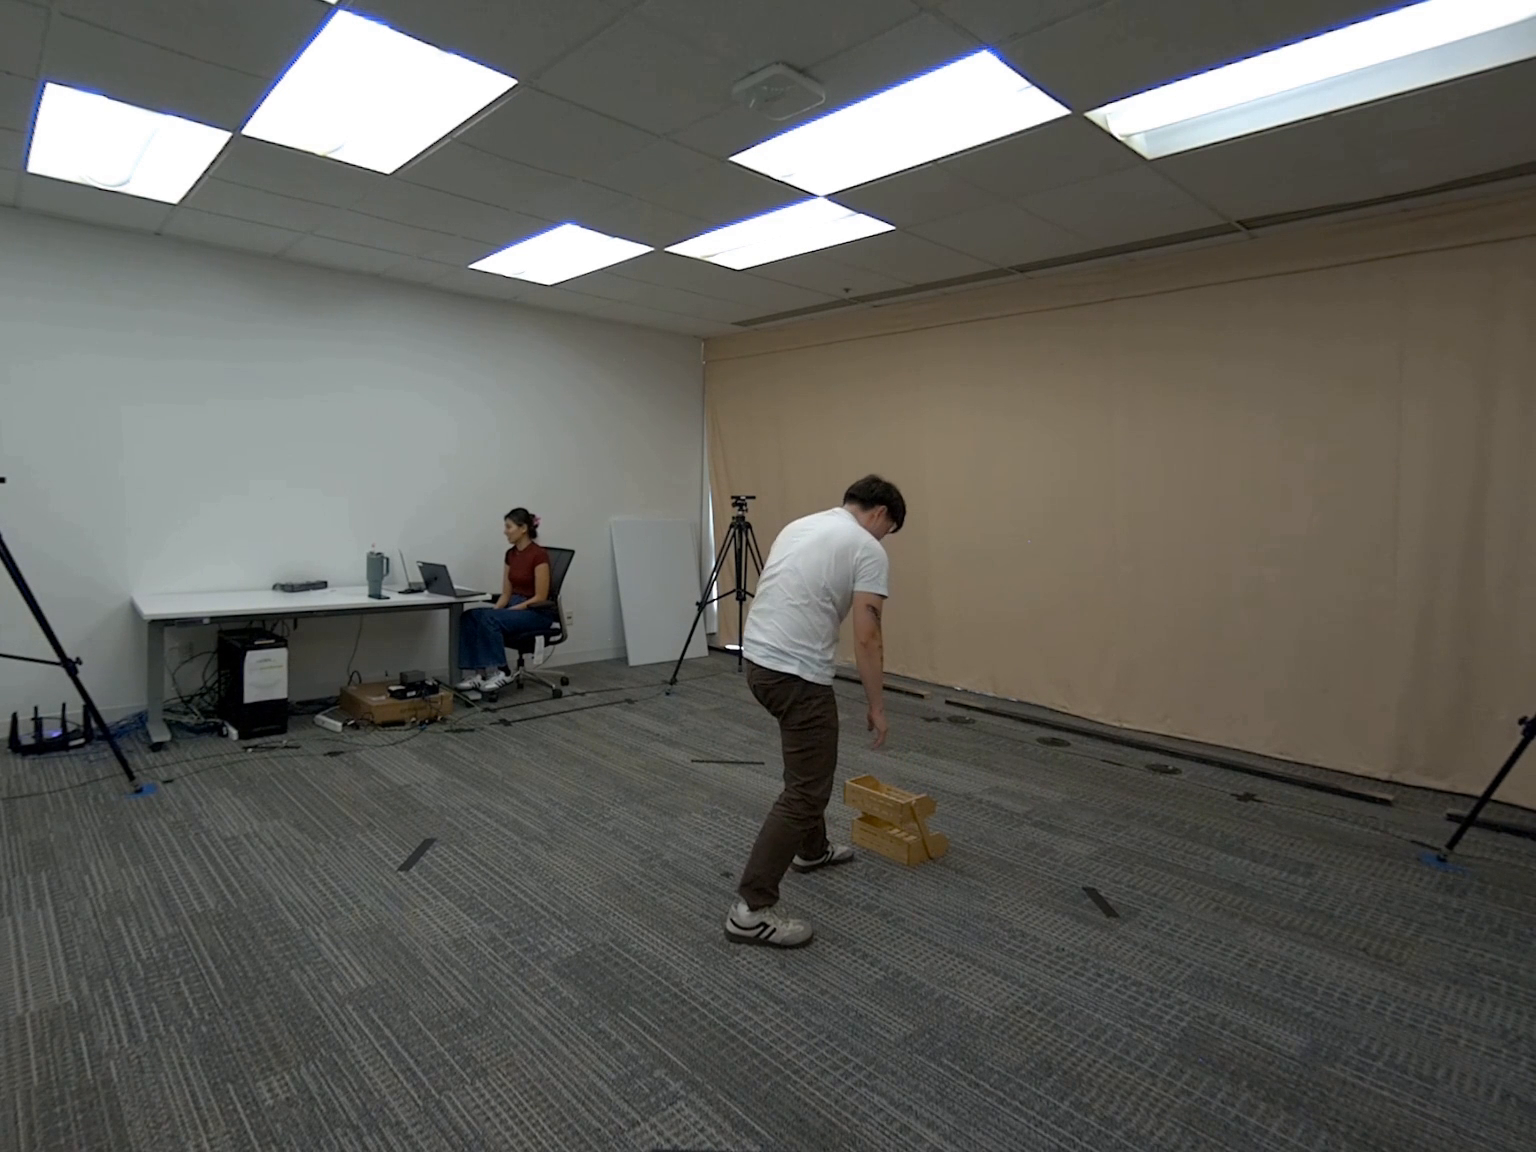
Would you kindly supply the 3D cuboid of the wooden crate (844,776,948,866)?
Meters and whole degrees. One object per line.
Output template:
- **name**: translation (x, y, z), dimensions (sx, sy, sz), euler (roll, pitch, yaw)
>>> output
- **wooden crate**: translation (0.512, 0.961, 3.383), dimensions (0.295, 0.272, 0.333), euler (-3, 6, -41)
